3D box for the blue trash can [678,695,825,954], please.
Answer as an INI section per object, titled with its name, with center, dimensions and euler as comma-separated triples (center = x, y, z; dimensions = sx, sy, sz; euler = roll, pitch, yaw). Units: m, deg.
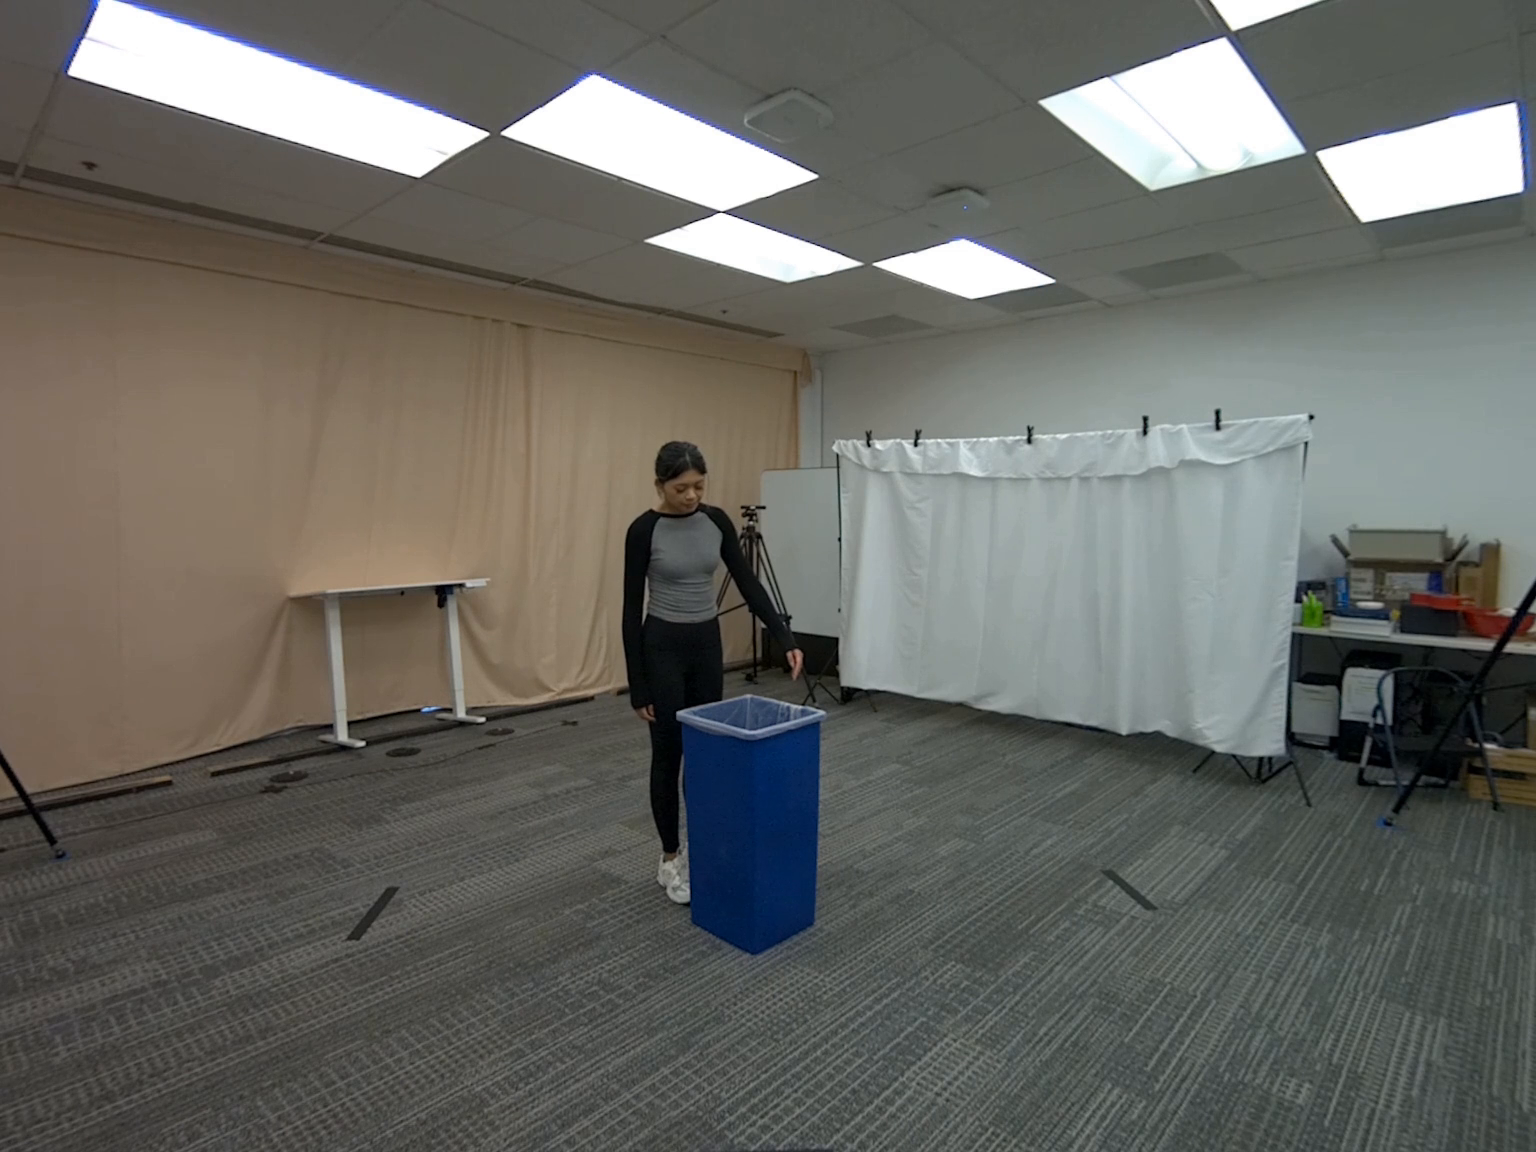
[blue trash can]
center = -0.049, 0.804, 2.784
dimensions = 0.390, 0.712, 0.362
euler = 3, 4, 45
